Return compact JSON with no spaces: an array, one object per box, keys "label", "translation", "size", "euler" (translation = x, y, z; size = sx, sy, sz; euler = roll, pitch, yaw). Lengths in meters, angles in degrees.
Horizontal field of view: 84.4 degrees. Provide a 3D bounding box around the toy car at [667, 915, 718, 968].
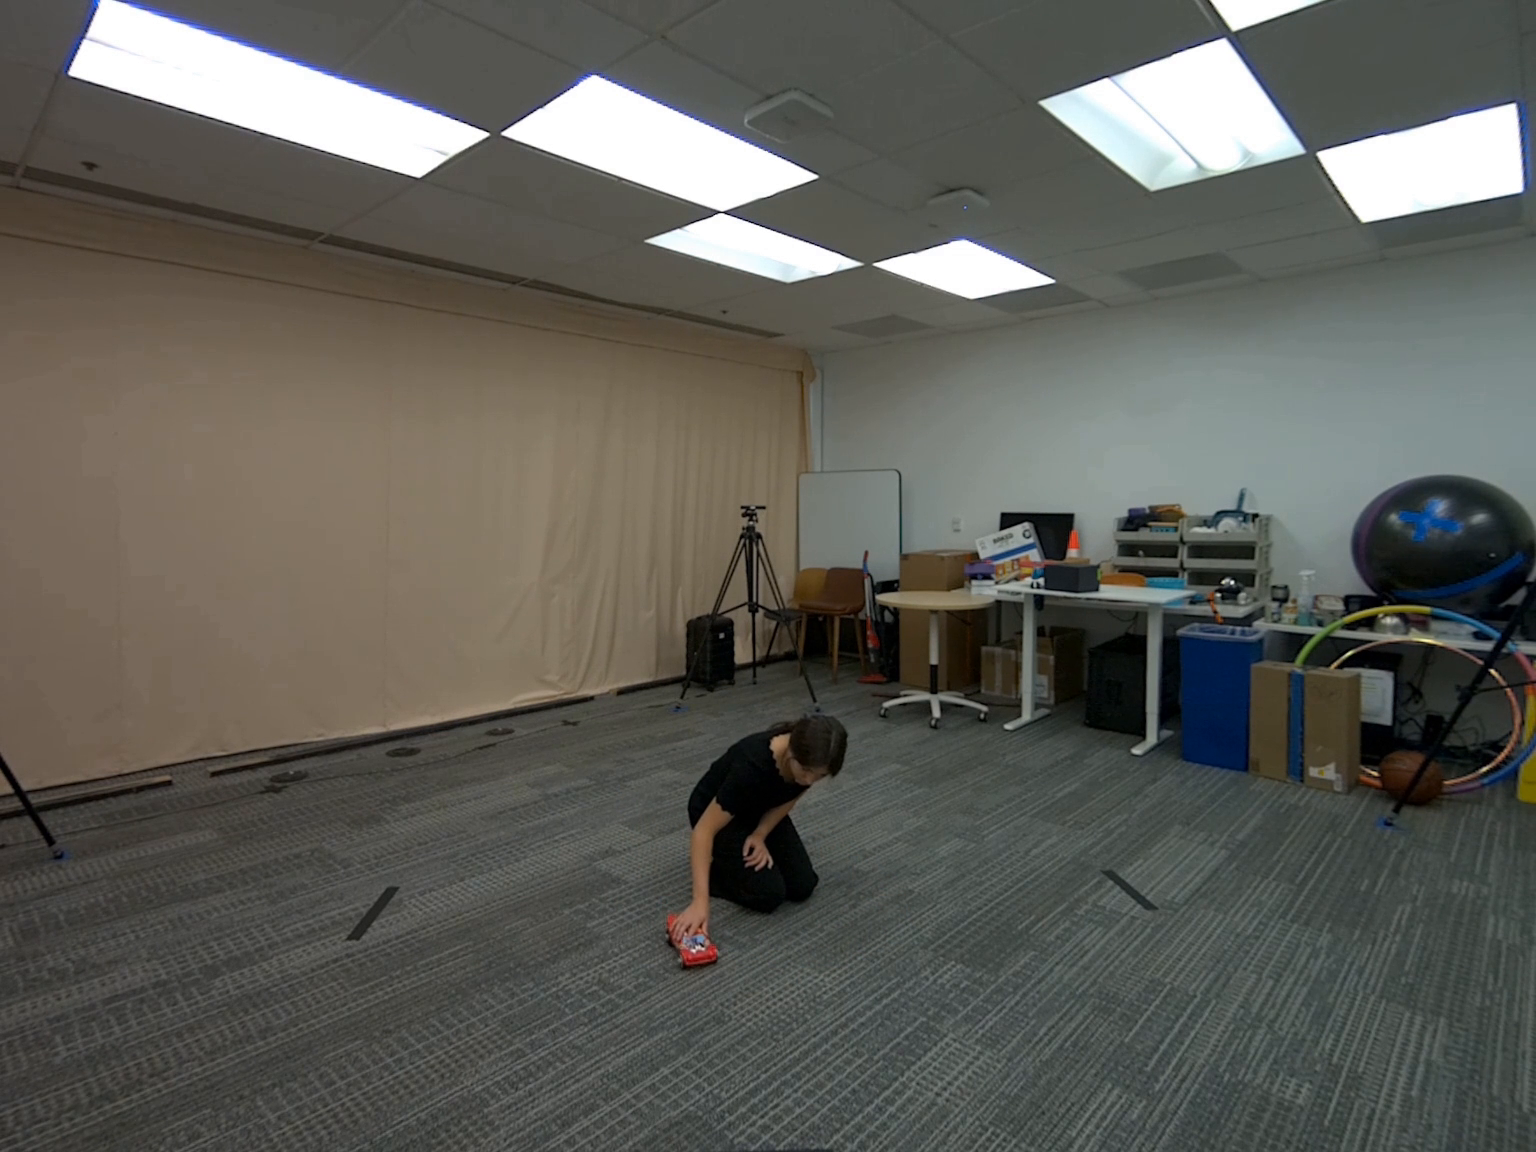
[{"label":"toy car","translation":[-0.253,1.138,2.648],"size":[0.128,0.082,0.261],"euler":[-2,16,-20]}]
